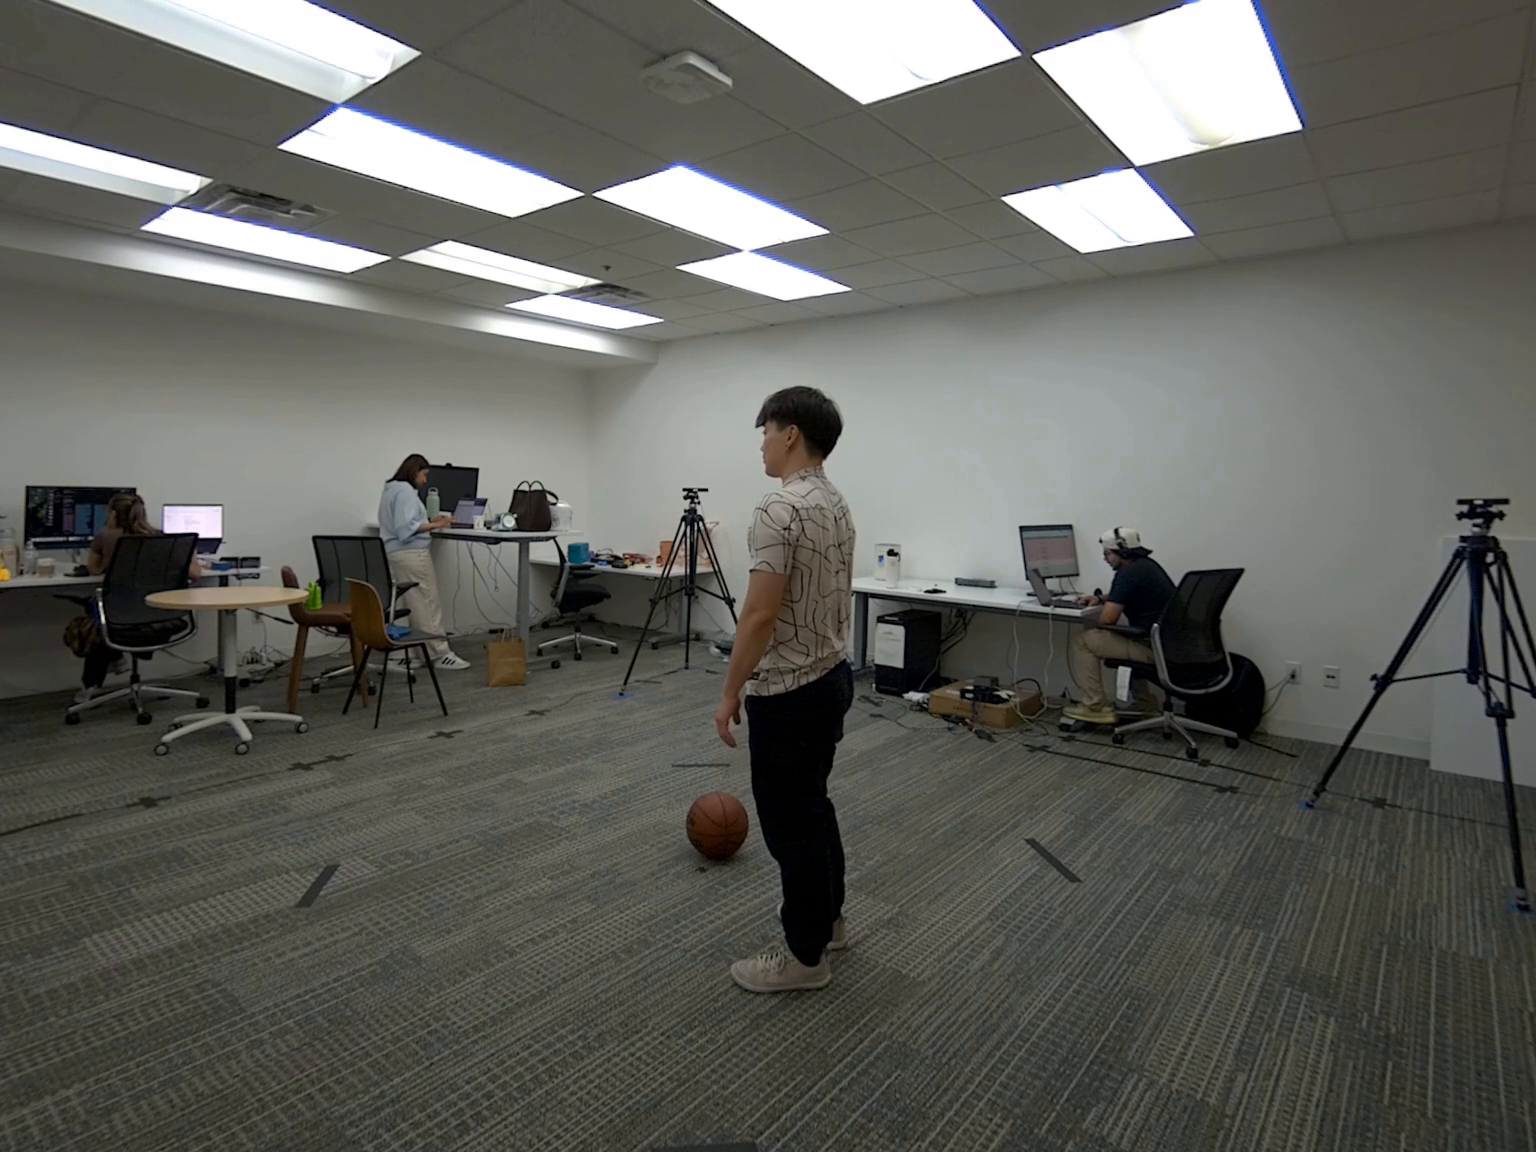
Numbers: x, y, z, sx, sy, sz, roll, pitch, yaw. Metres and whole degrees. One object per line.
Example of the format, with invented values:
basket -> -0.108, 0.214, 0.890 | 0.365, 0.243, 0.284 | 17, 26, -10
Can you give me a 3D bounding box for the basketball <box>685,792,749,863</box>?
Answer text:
basketball -> -0.204, 0.934, 3.223 | 0.235, 0.235, 0.237 | 1, 4, -2
